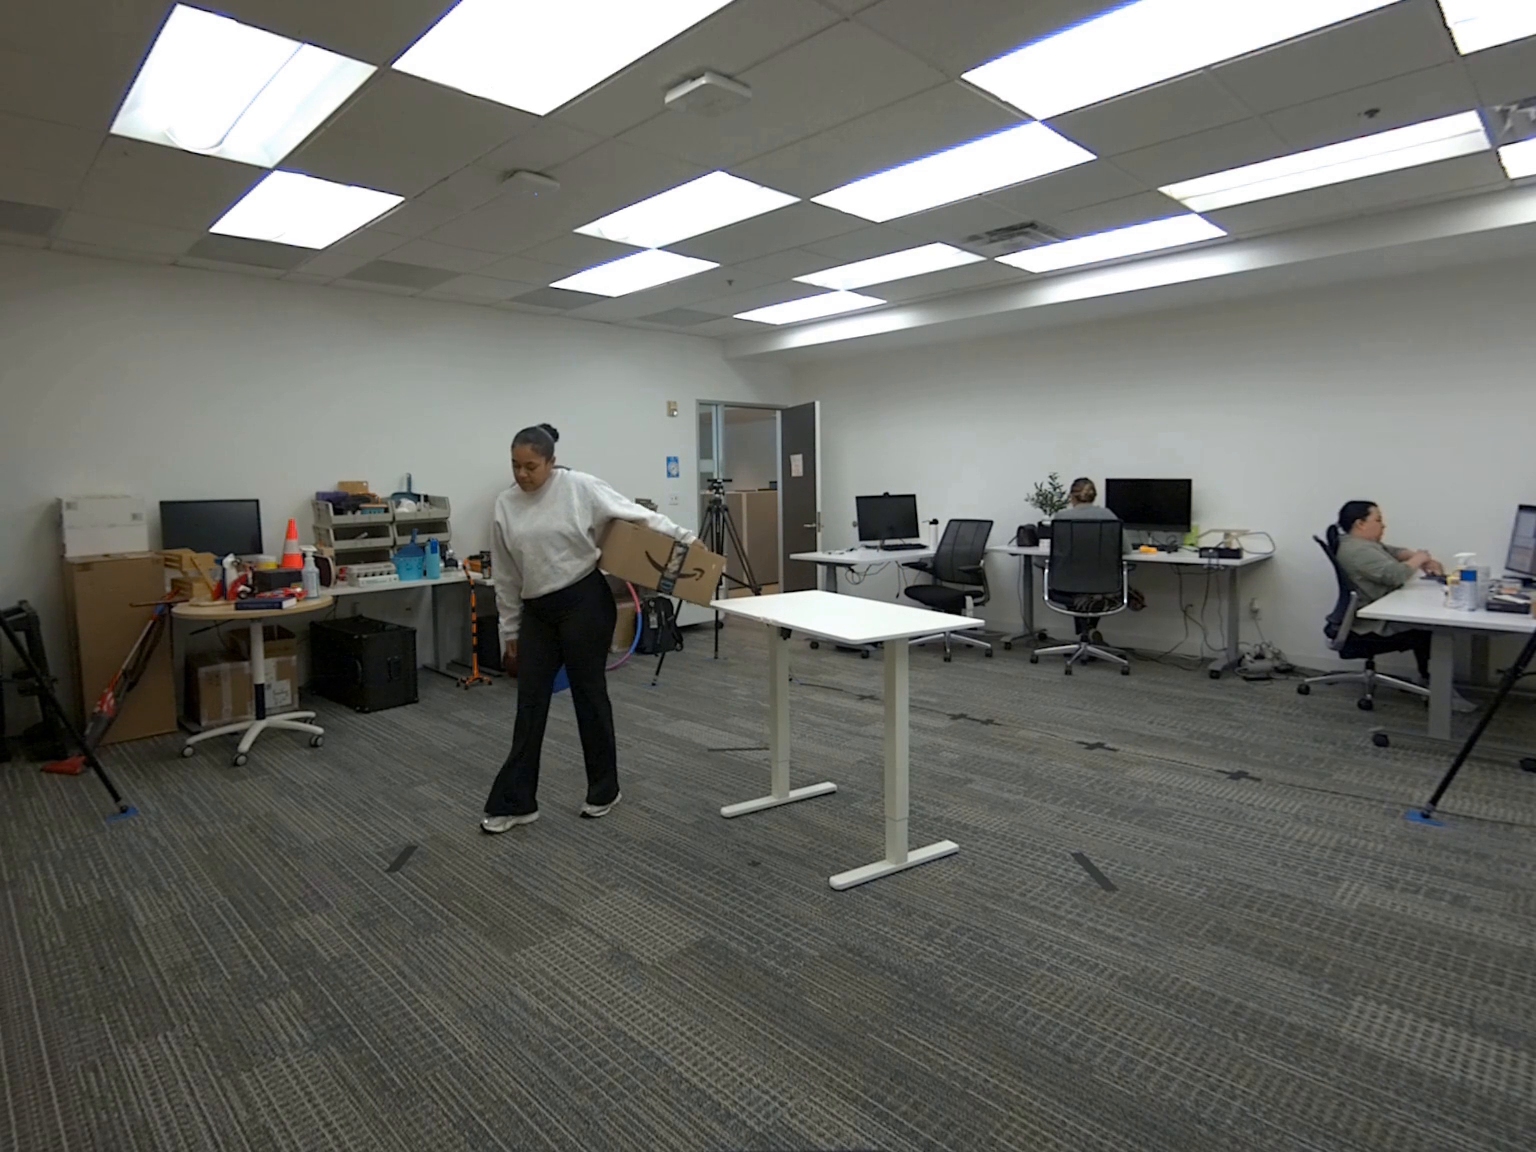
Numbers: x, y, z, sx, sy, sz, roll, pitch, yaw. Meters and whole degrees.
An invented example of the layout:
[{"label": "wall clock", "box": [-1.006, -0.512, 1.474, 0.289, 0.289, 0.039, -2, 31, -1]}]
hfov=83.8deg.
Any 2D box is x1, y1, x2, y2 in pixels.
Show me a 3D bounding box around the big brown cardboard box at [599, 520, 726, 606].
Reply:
[{"label": "big brown cardboard box", "box": [-0.489, -0.079, 3.594, 0.406, 0.233, 0.605, 19, -1, -27]}]
